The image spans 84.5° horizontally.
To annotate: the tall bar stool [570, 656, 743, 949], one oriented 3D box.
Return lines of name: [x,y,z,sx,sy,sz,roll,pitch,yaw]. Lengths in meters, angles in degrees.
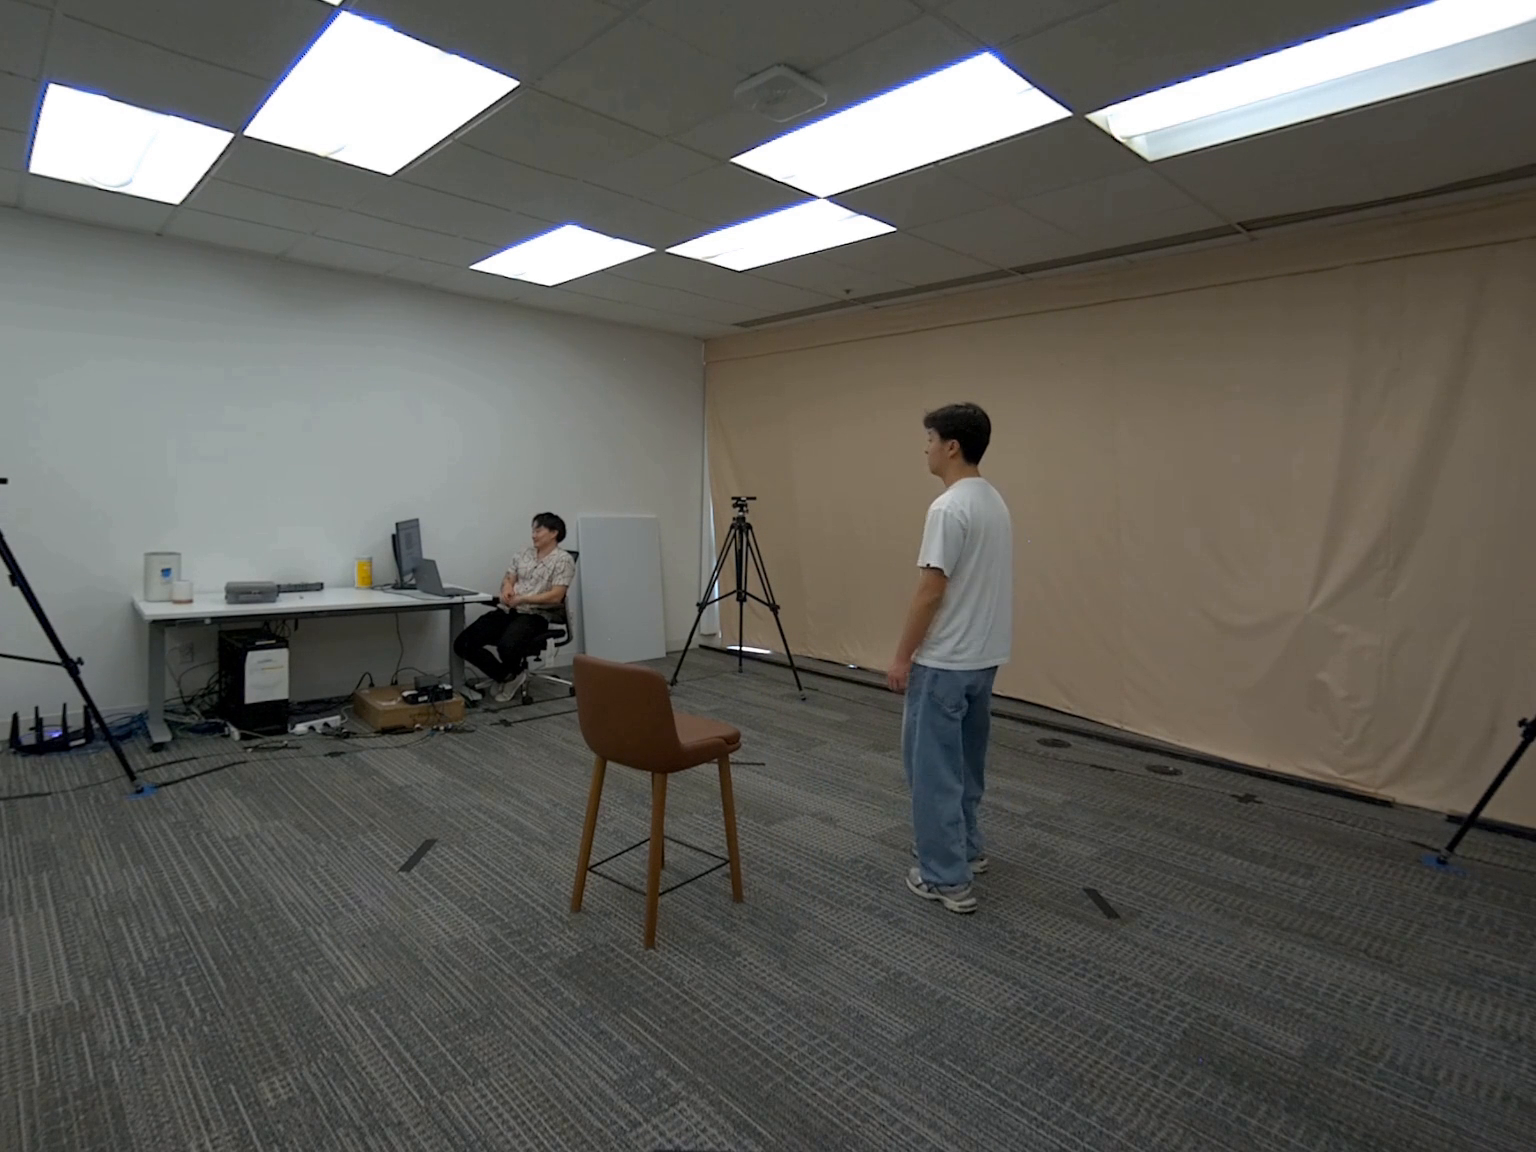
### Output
tall bar stool: [-0.378,0.690,2.842,0.468,0.887,0.458,4,6,39]
